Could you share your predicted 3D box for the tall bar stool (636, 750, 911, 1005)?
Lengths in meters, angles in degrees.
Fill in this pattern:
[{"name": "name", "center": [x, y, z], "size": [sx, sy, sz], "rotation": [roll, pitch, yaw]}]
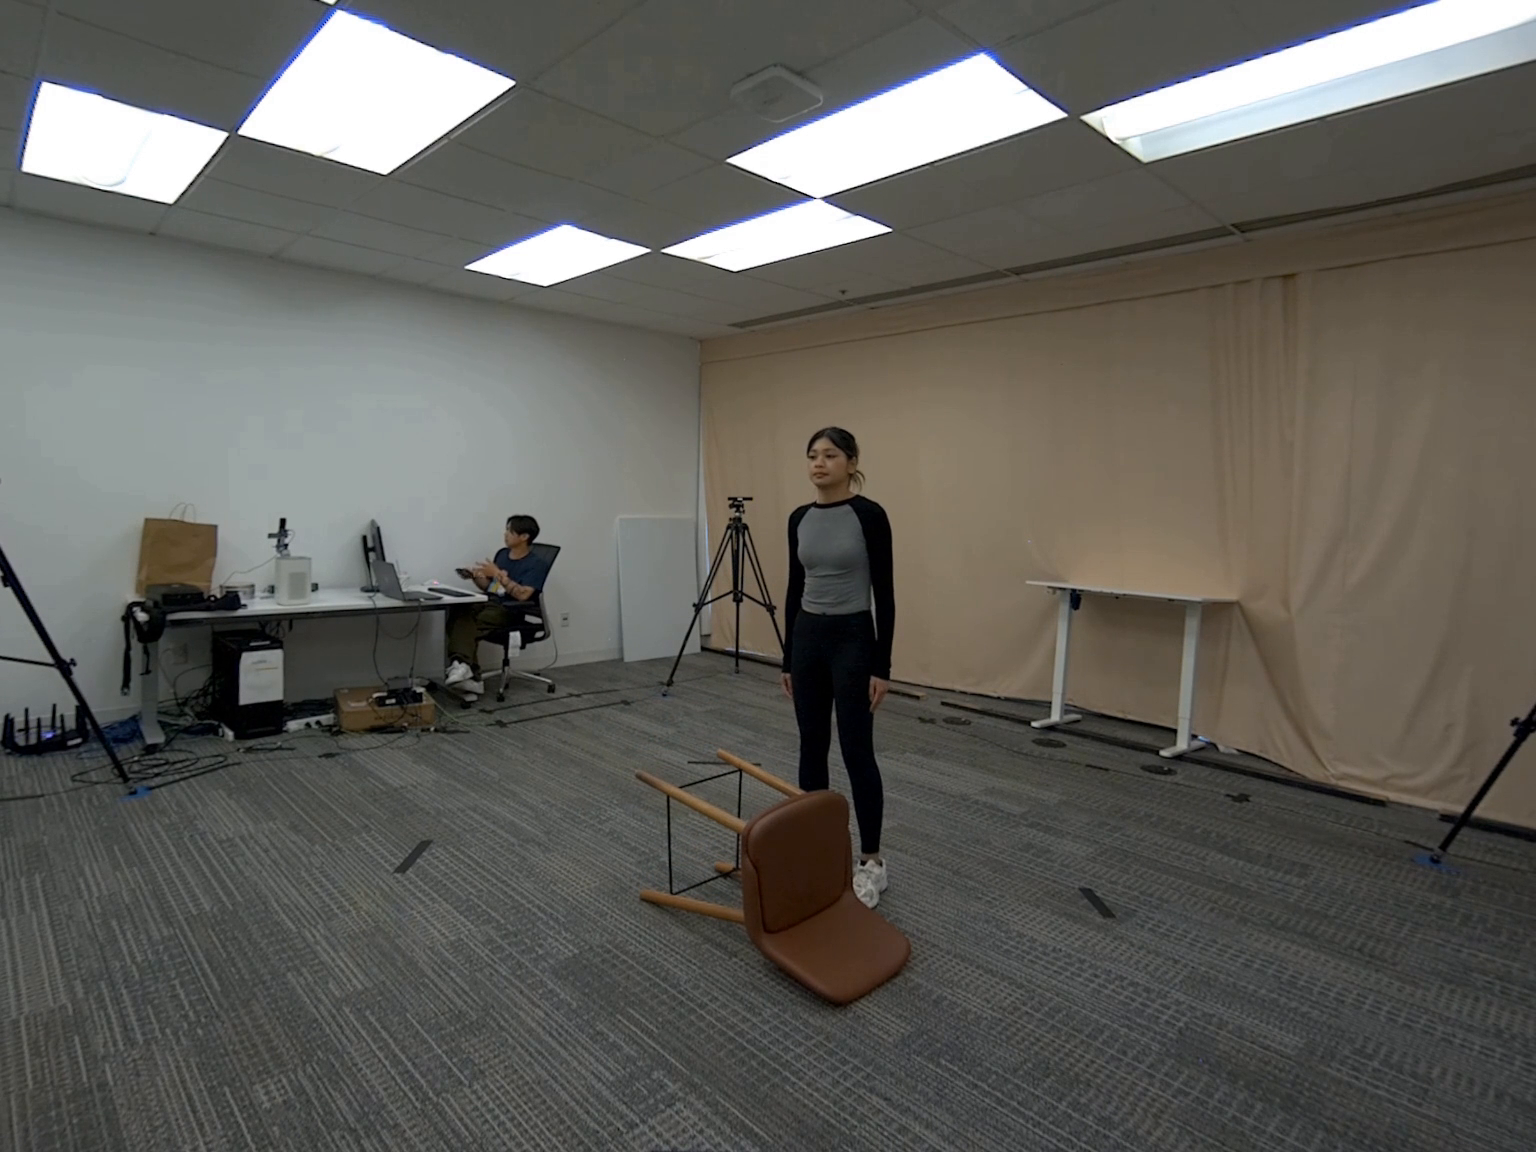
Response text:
[{"name": "tall bar stool", "center": [-0.008, 0.917, 2.712], "size": [0.446, 0.466, 0.913], "rotation": [-2, 6, -44]}]
